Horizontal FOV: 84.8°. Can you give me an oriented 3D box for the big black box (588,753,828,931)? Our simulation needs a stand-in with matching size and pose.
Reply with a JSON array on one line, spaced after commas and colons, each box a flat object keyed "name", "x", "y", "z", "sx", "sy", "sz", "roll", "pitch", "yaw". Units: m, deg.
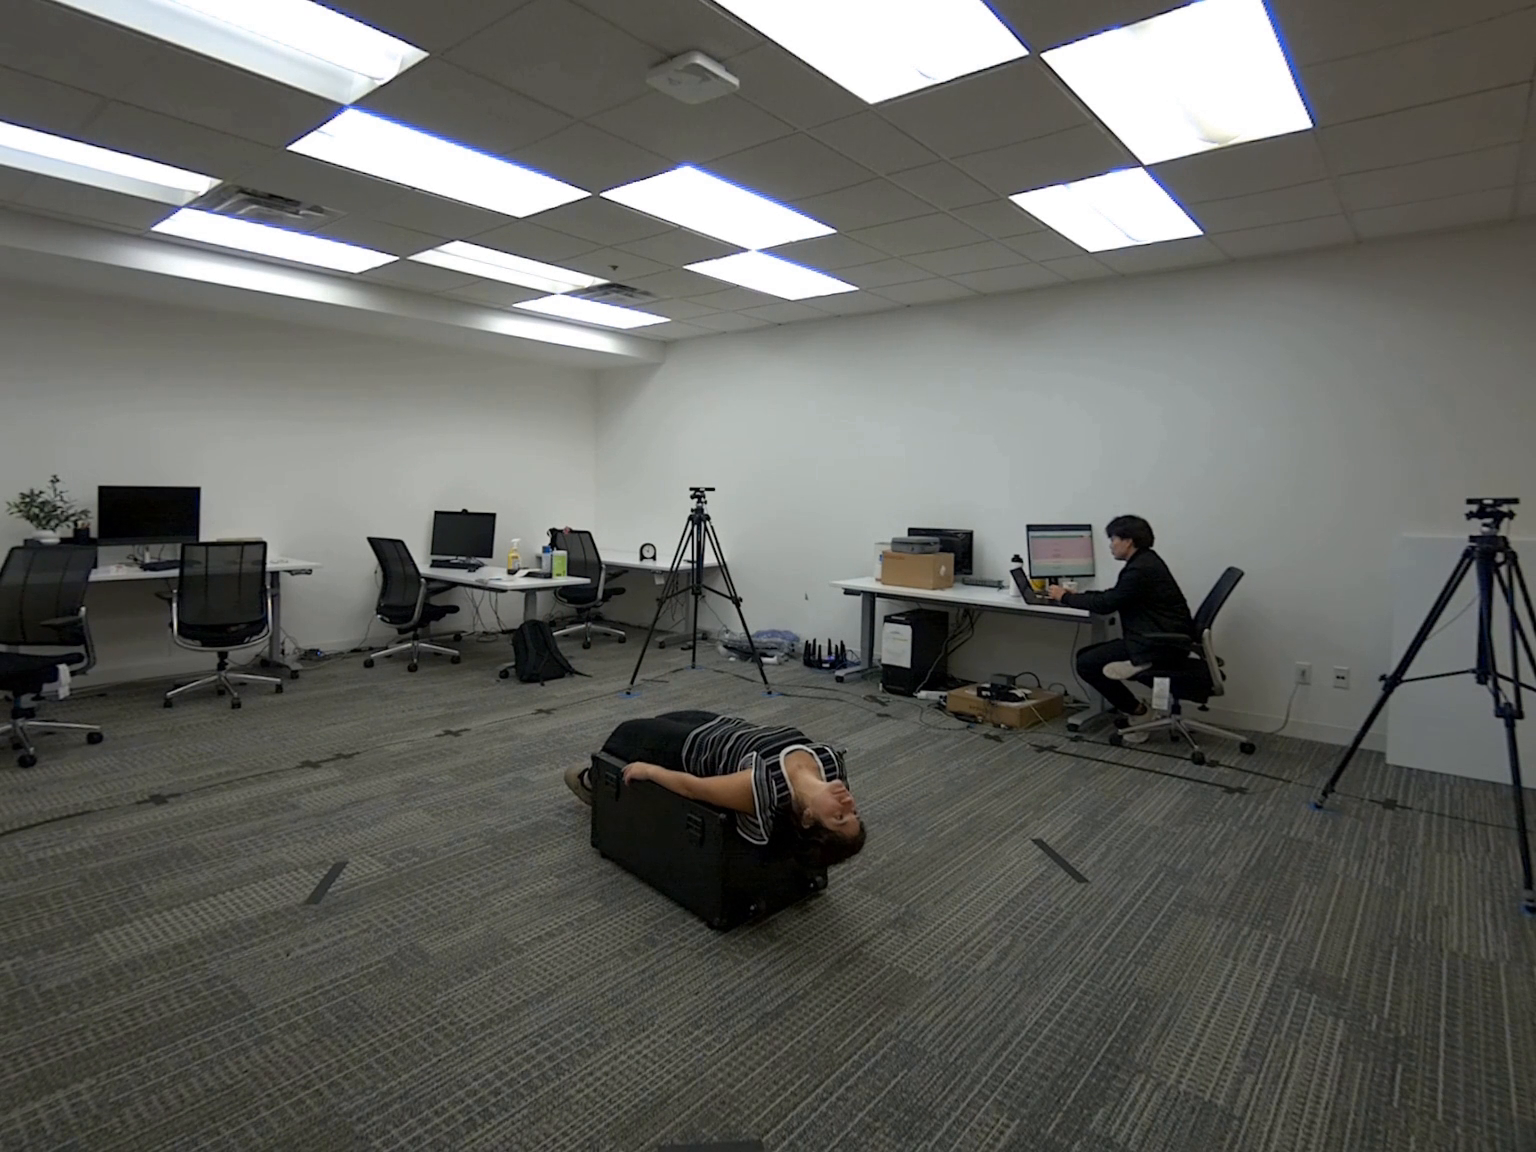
[{"name": "big black box", "x": -0.213, "y": 0.889, "z": 3.041, "sx": 0.505, "sy": 0.395, "sz": 0.891, "roll": 0, "pitch": 4, "yaw": -41}]
